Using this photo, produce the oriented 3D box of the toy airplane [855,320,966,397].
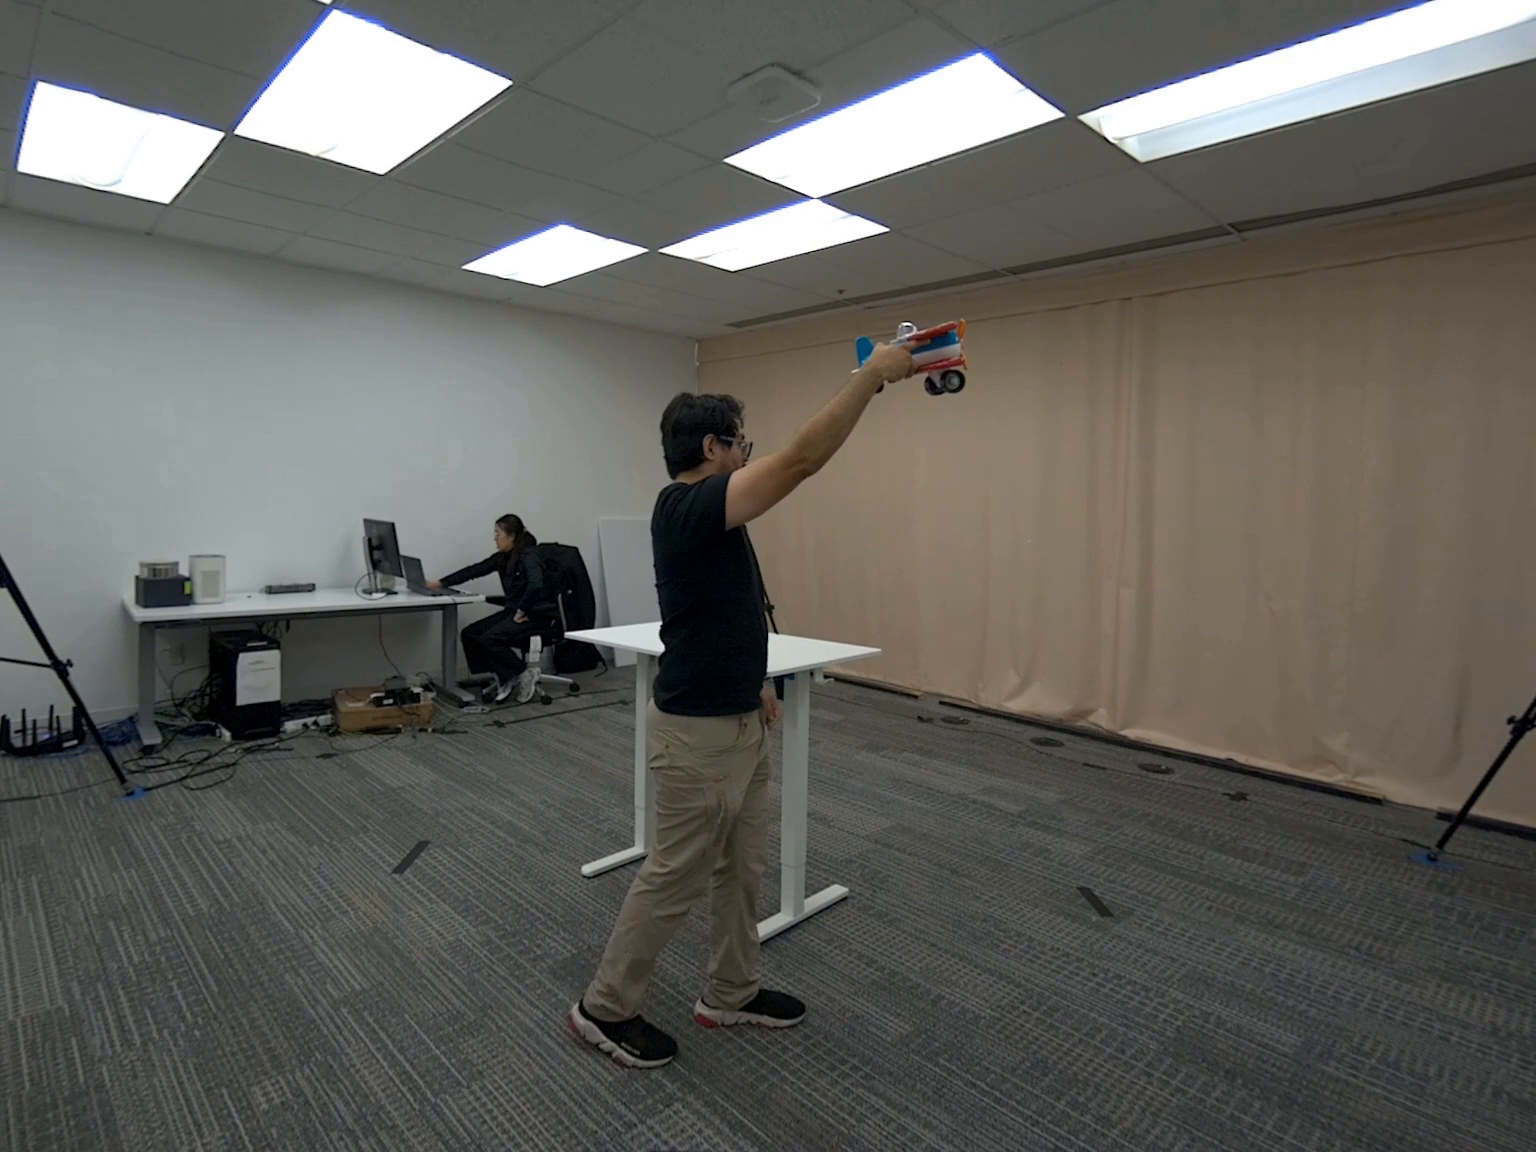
[{"bbox_3d":[0.333,-0.495,1.912,0.254,0.155,0.257,-8,10,-39],"label":"toy airplane"}]
